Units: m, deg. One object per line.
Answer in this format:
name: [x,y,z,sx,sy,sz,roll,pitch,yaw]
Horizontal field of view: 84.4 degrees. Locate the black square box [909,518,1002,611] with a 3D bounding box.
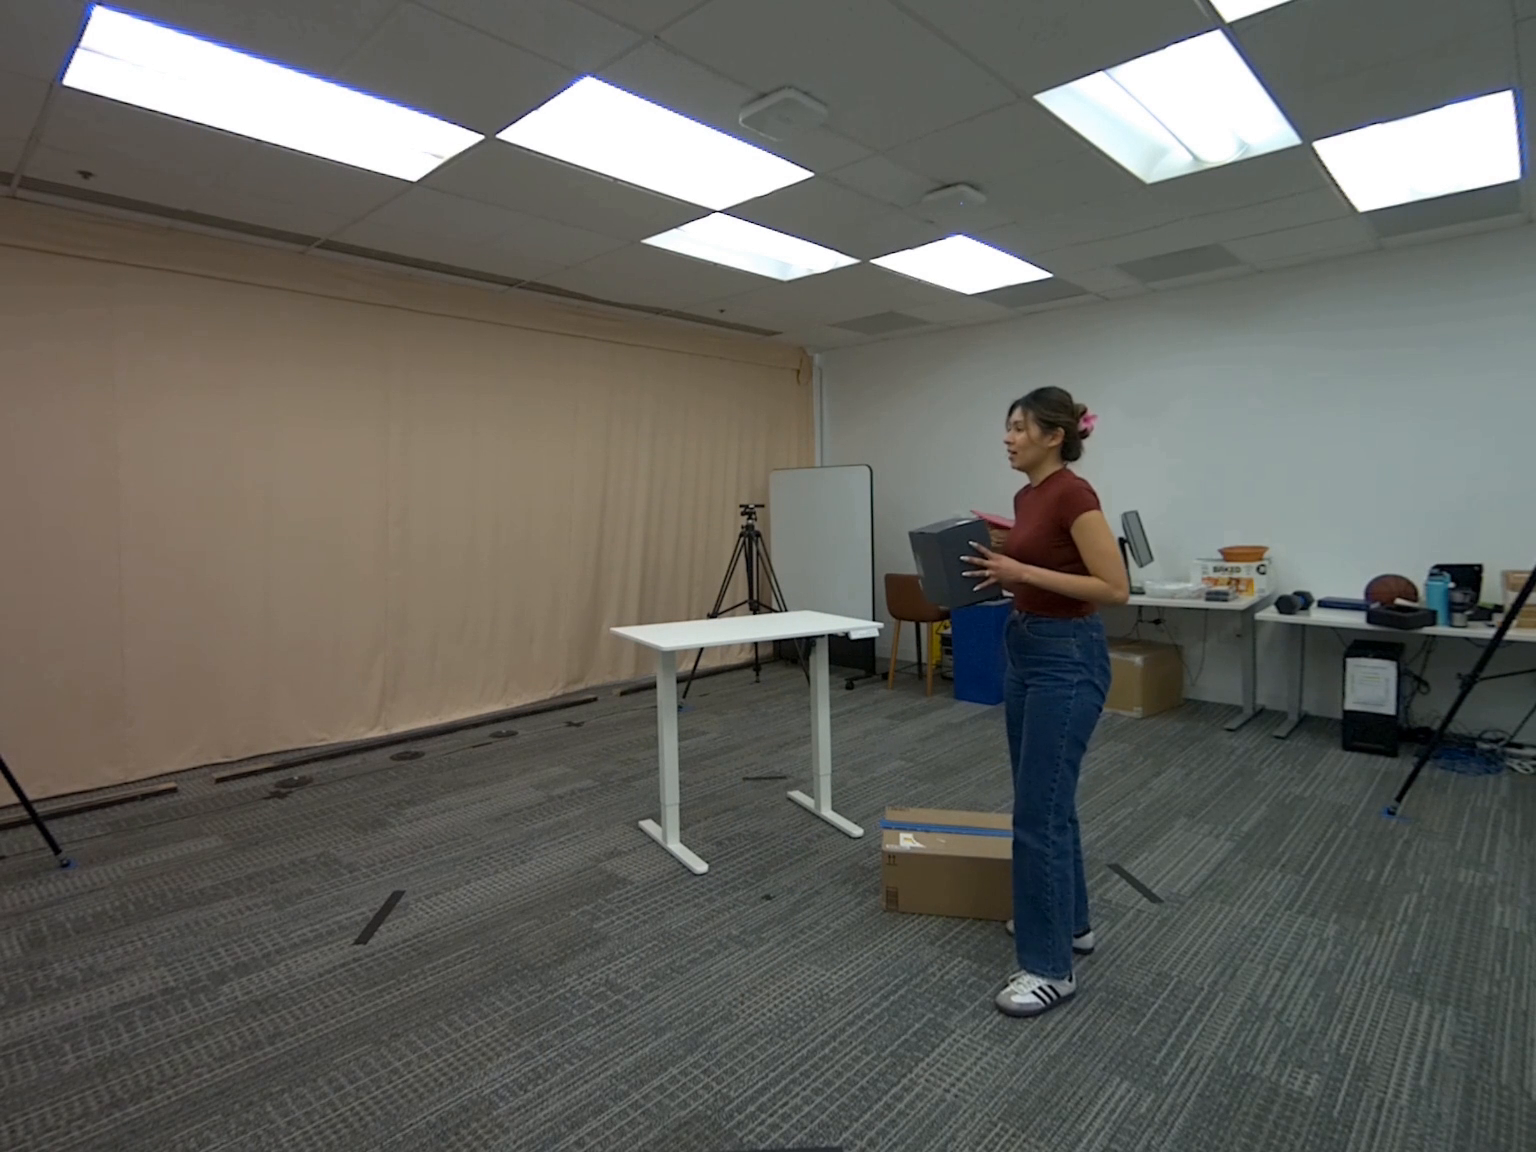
black square box: [0.555,-0.037,2.472,0.155,0.227,0.219,-15,4,-6]
